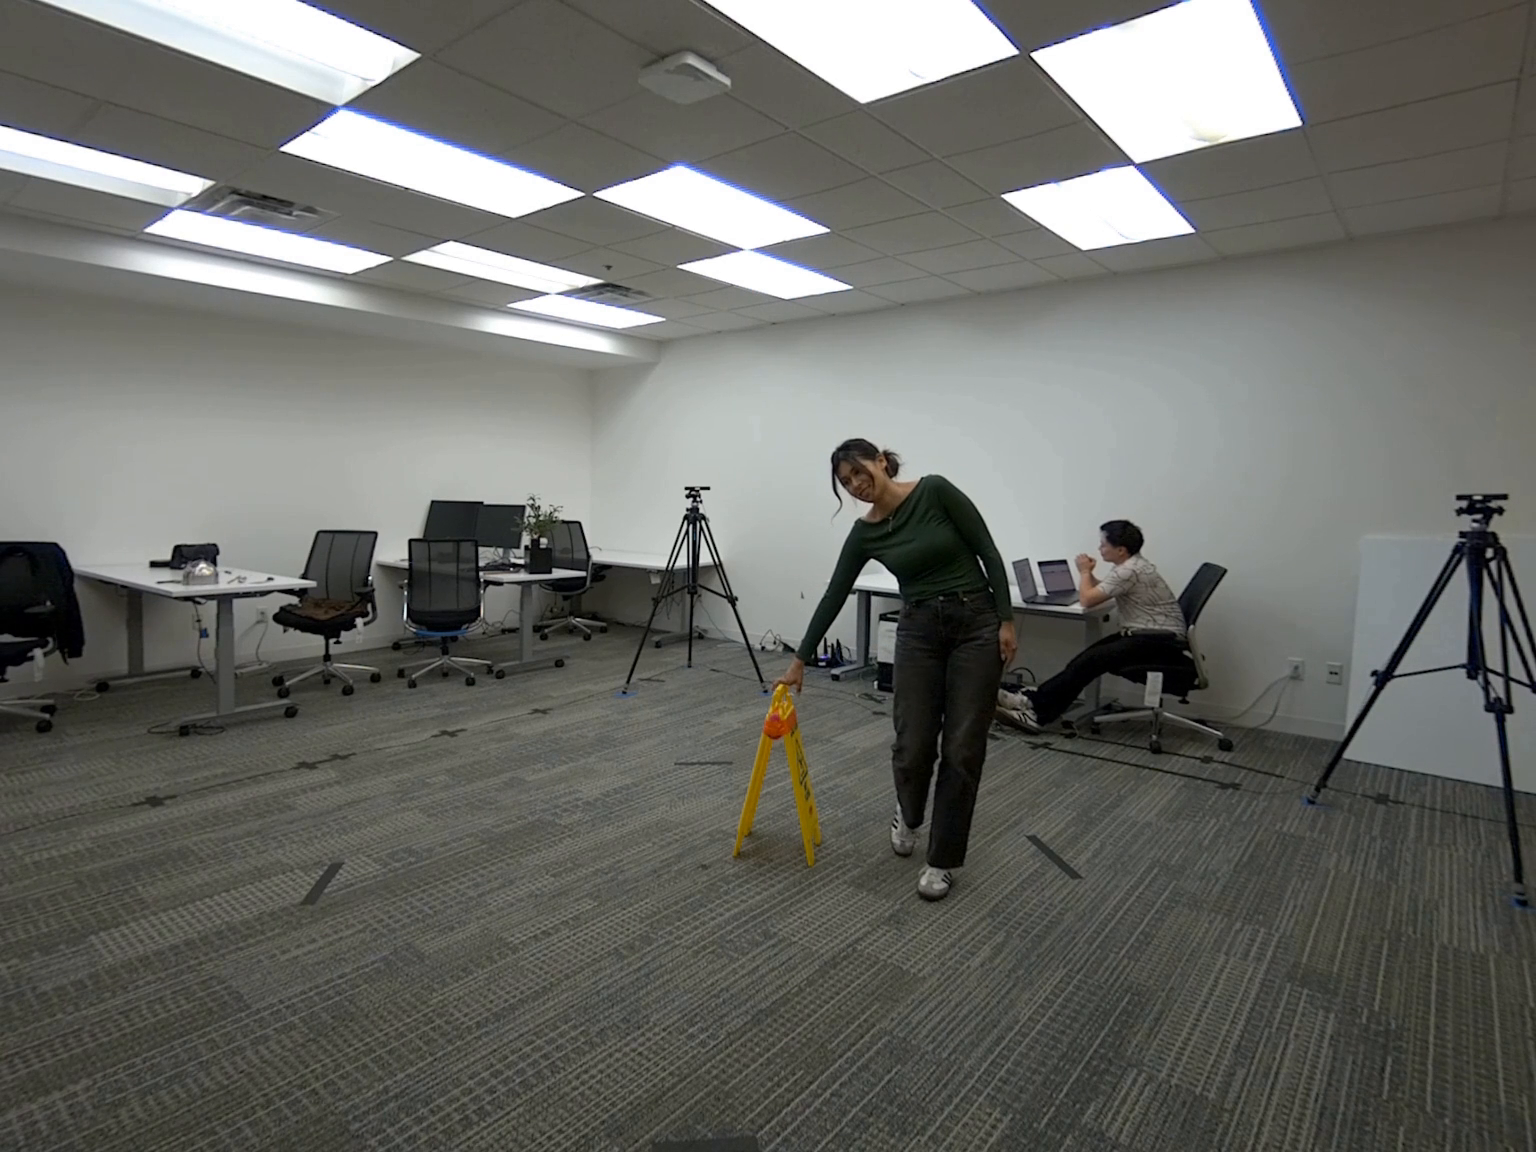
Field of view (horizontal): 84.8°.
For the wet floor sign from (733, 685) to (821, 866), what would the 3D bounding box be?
[{"bbox_3d":[0.034,0.730,3.283,0.294,0.645,0.278,1,2,13],"label":"wet floor sign"}]
